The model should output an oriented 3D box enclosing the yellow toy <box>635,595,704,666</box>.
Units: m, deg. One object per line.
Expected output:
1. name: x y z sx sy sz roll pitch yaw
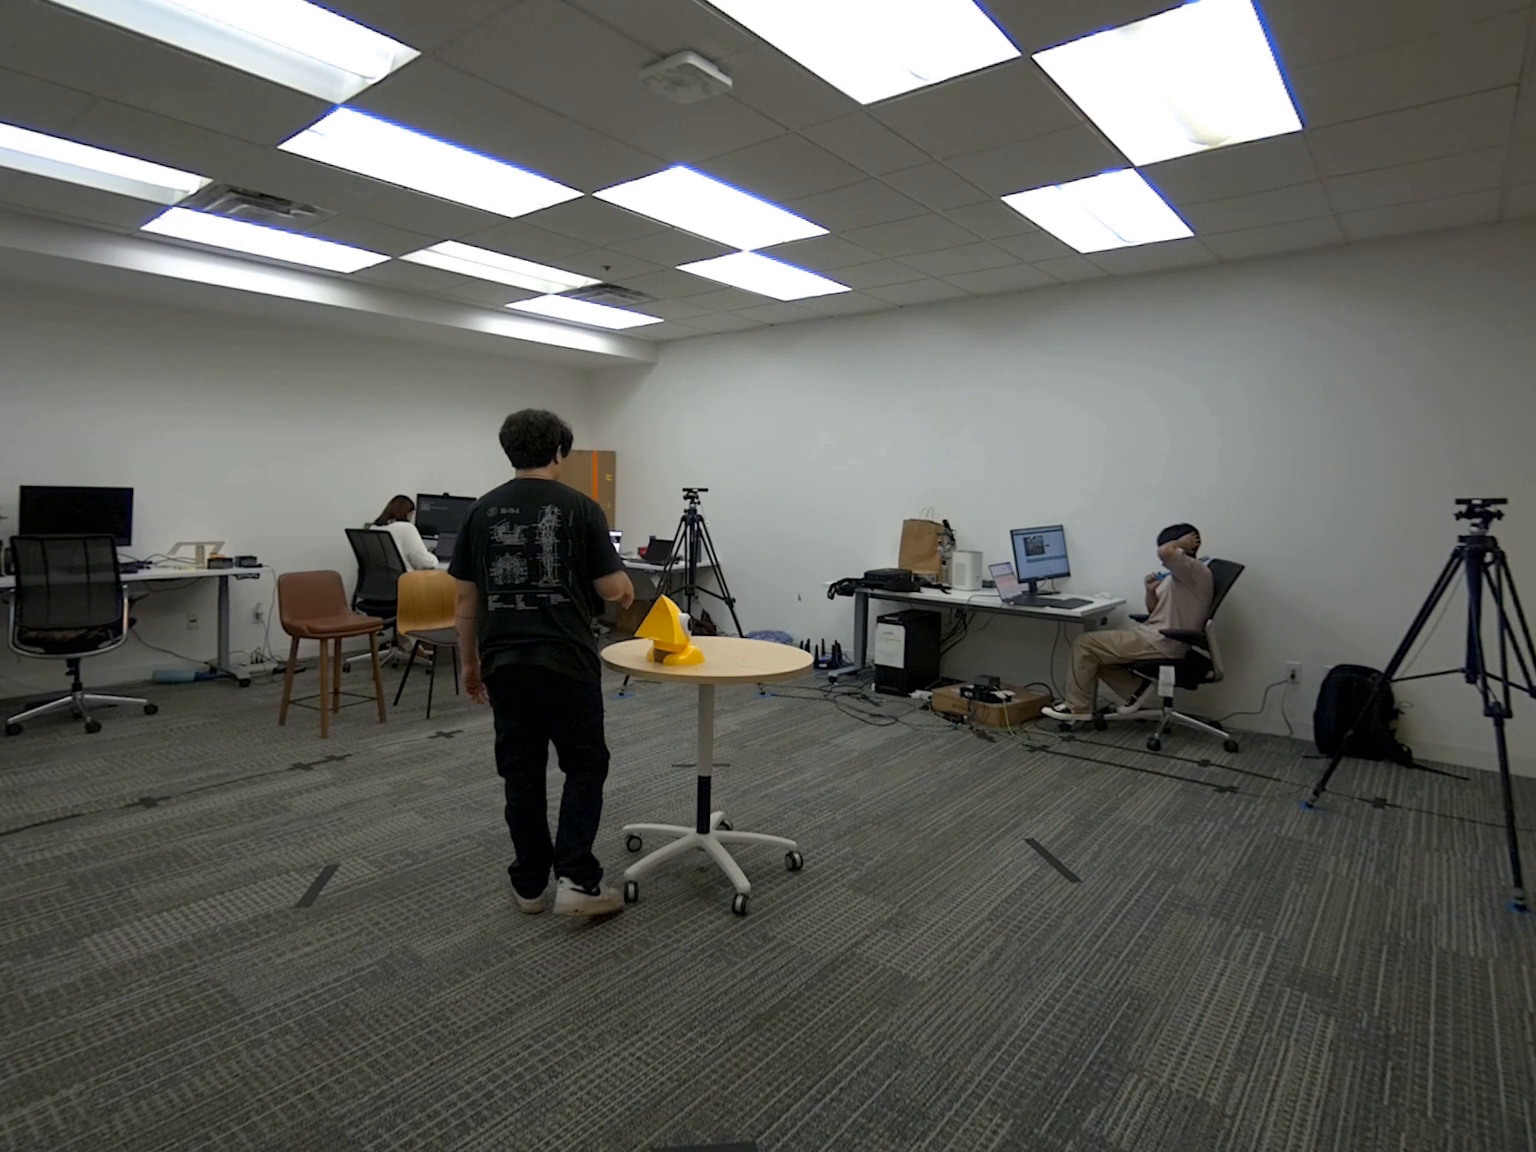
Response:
1. yellow toy: -0.336 0.175 2.934 0.212 0.230 0.187 5 4 41
